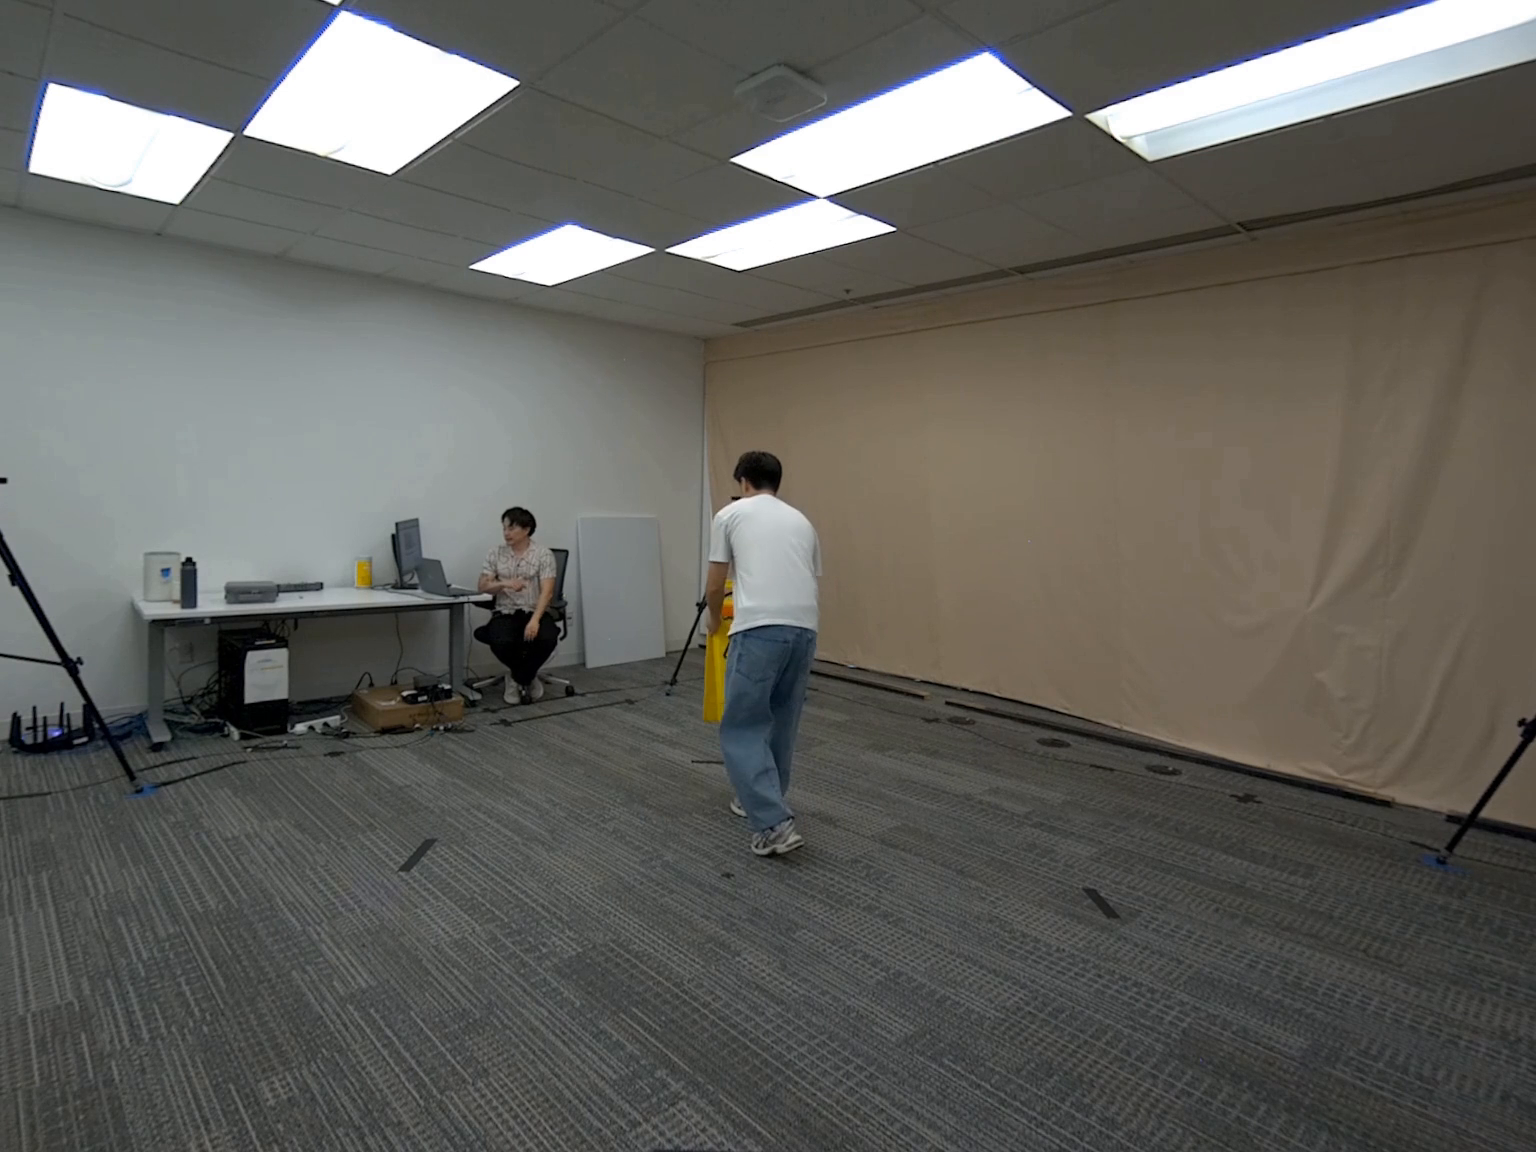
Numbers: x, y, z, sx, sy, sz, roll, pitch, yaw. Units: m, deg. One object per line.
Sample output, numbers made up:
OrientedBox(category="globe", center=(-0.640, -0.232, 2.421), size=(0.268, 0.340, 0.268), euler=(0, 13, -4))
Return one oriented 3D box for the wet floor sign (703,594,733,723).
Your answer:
OrientedBox(category="wet floor sign", center=(-0.147, 0.353, 3.927), size=(0.278, 0.651, 0.291), euler=(1, -10, -18))
